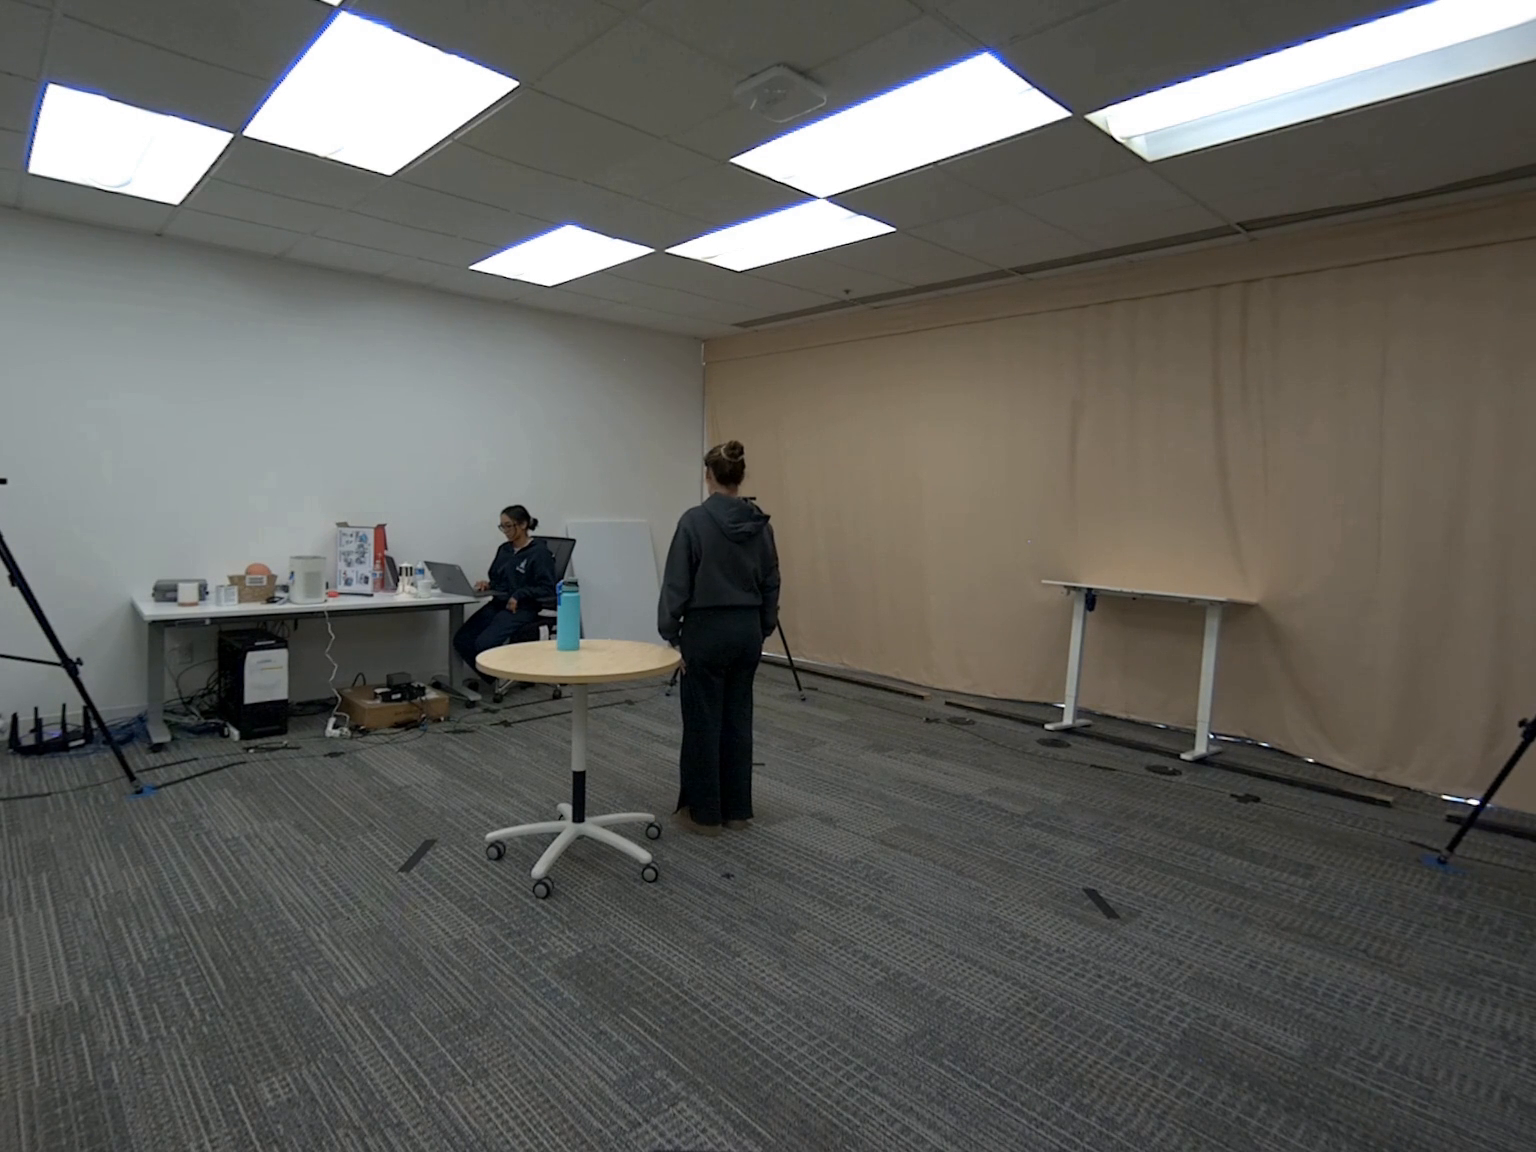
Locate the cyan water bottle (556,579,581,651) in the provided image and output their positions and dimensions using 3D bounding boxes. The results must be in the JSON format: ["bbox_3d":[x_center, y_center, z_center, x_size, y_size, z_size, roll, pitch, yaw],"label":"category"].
[{"bbox_3d":[-0.802,0.150,3.325,0.092,0.283,0.092,1,3,-1],"label":"cyan water bottle"}]
